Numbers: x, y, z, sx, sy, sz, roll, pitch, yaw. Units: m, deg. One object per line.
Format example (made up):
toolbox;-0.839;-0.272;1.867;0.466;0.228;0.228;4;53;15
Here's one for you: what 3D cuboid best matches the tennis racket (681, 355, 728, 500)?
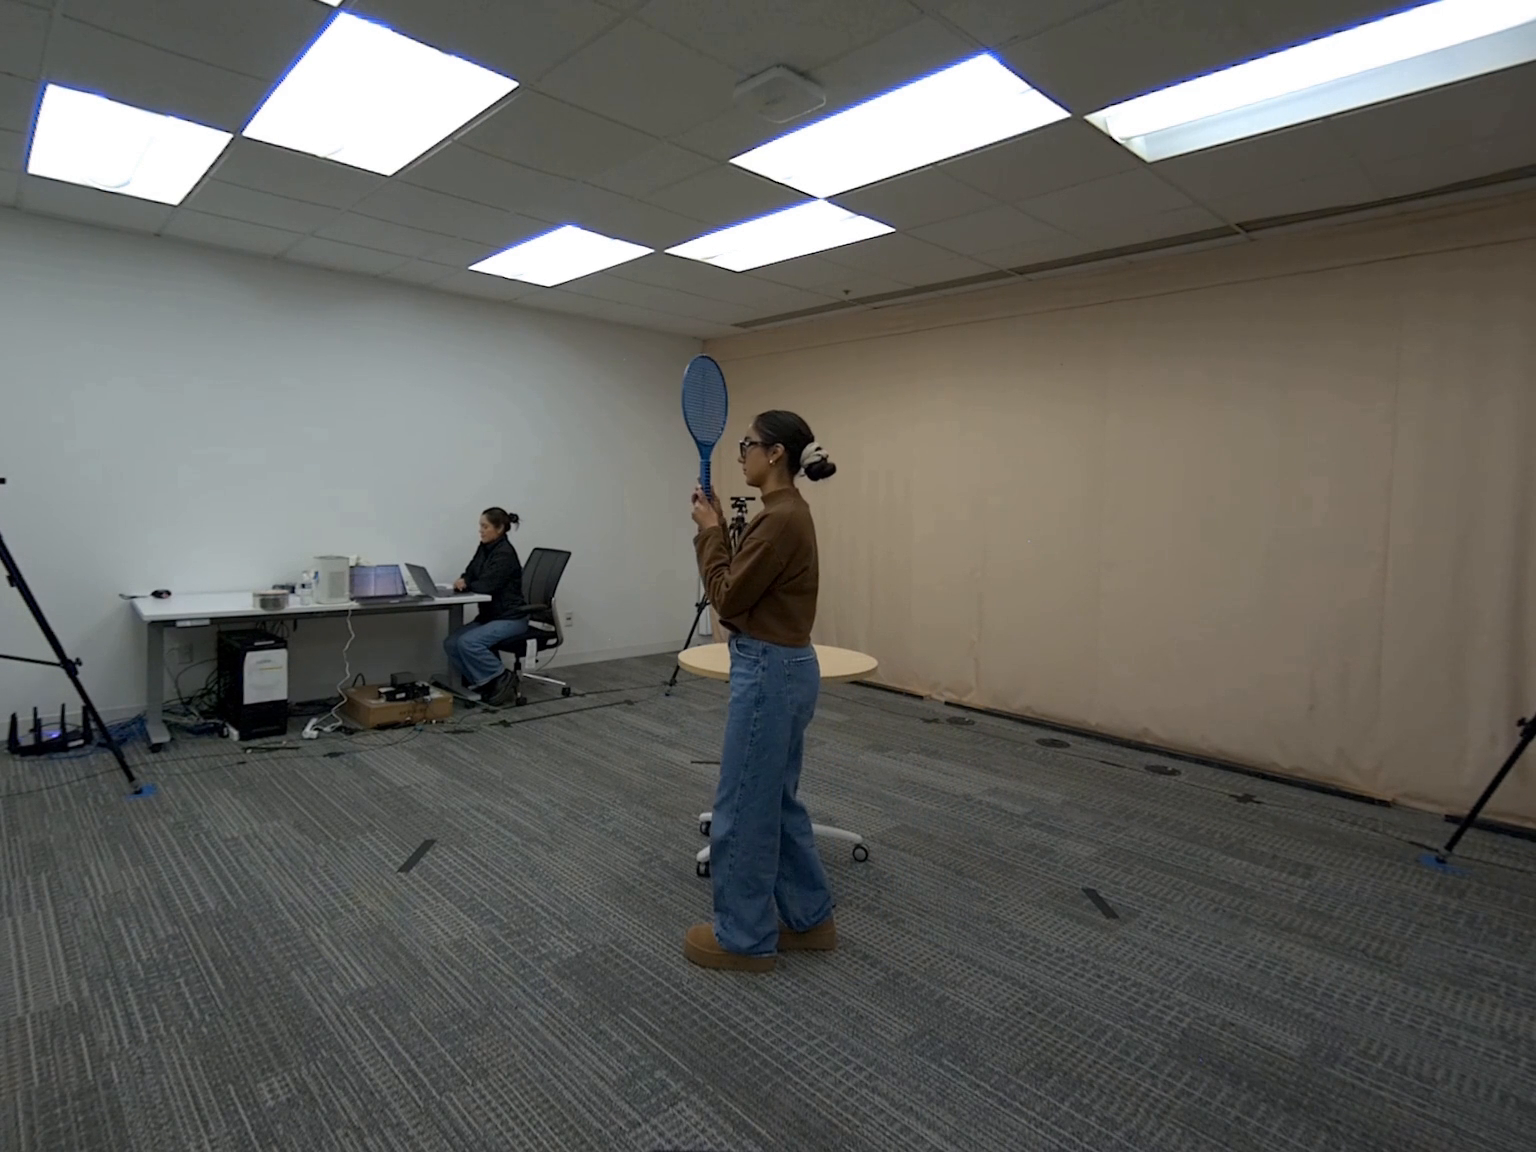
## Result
tennis racket;-0.186;-0.435;2.492;0.032;0.433;0.209;0;-1;36
